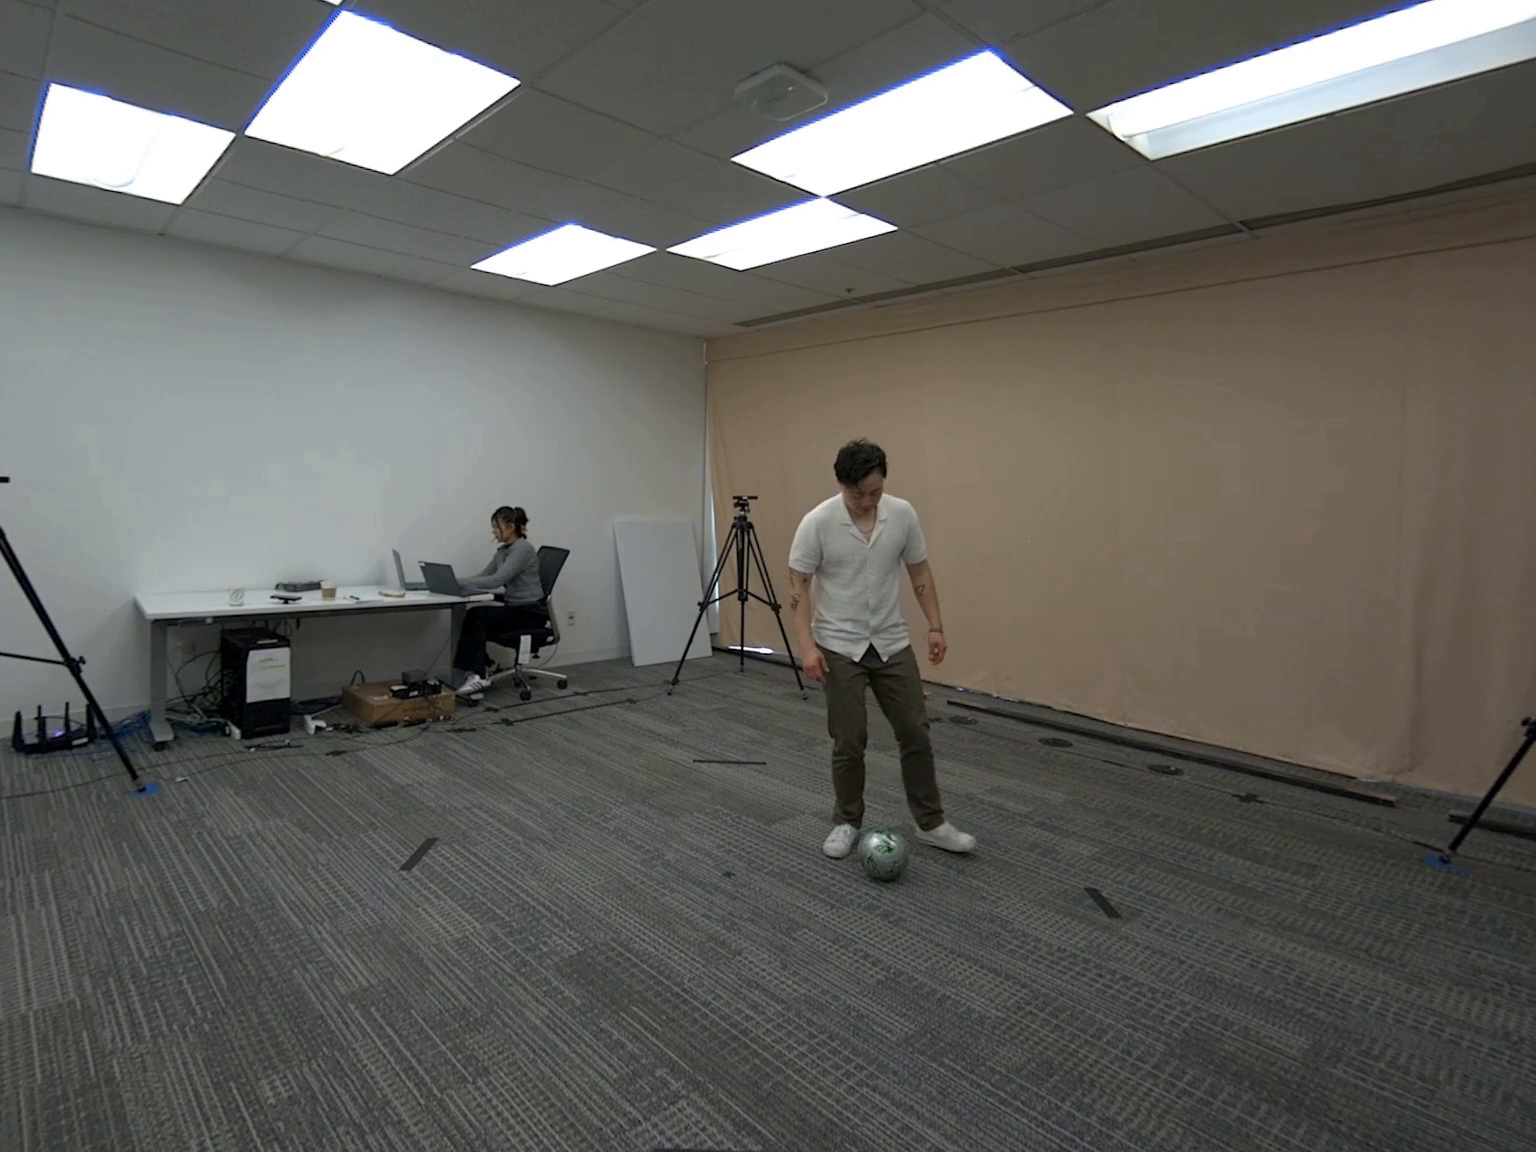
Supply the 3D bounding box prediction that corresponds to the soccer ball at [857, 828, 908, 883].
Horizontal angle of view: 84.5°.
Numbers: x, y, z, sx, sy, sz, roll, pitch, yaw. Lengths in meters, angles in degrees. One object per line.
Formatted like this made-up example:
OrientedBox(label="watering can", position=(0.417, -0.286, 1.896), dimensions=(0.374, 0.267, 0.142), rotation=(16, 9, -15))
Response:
OrientedBox(label="soccer ball", position=(0.412, 1.024, 3.105), dimensions=(0.187, 0.187, 0.188), rotation=(1, 4, -1))
